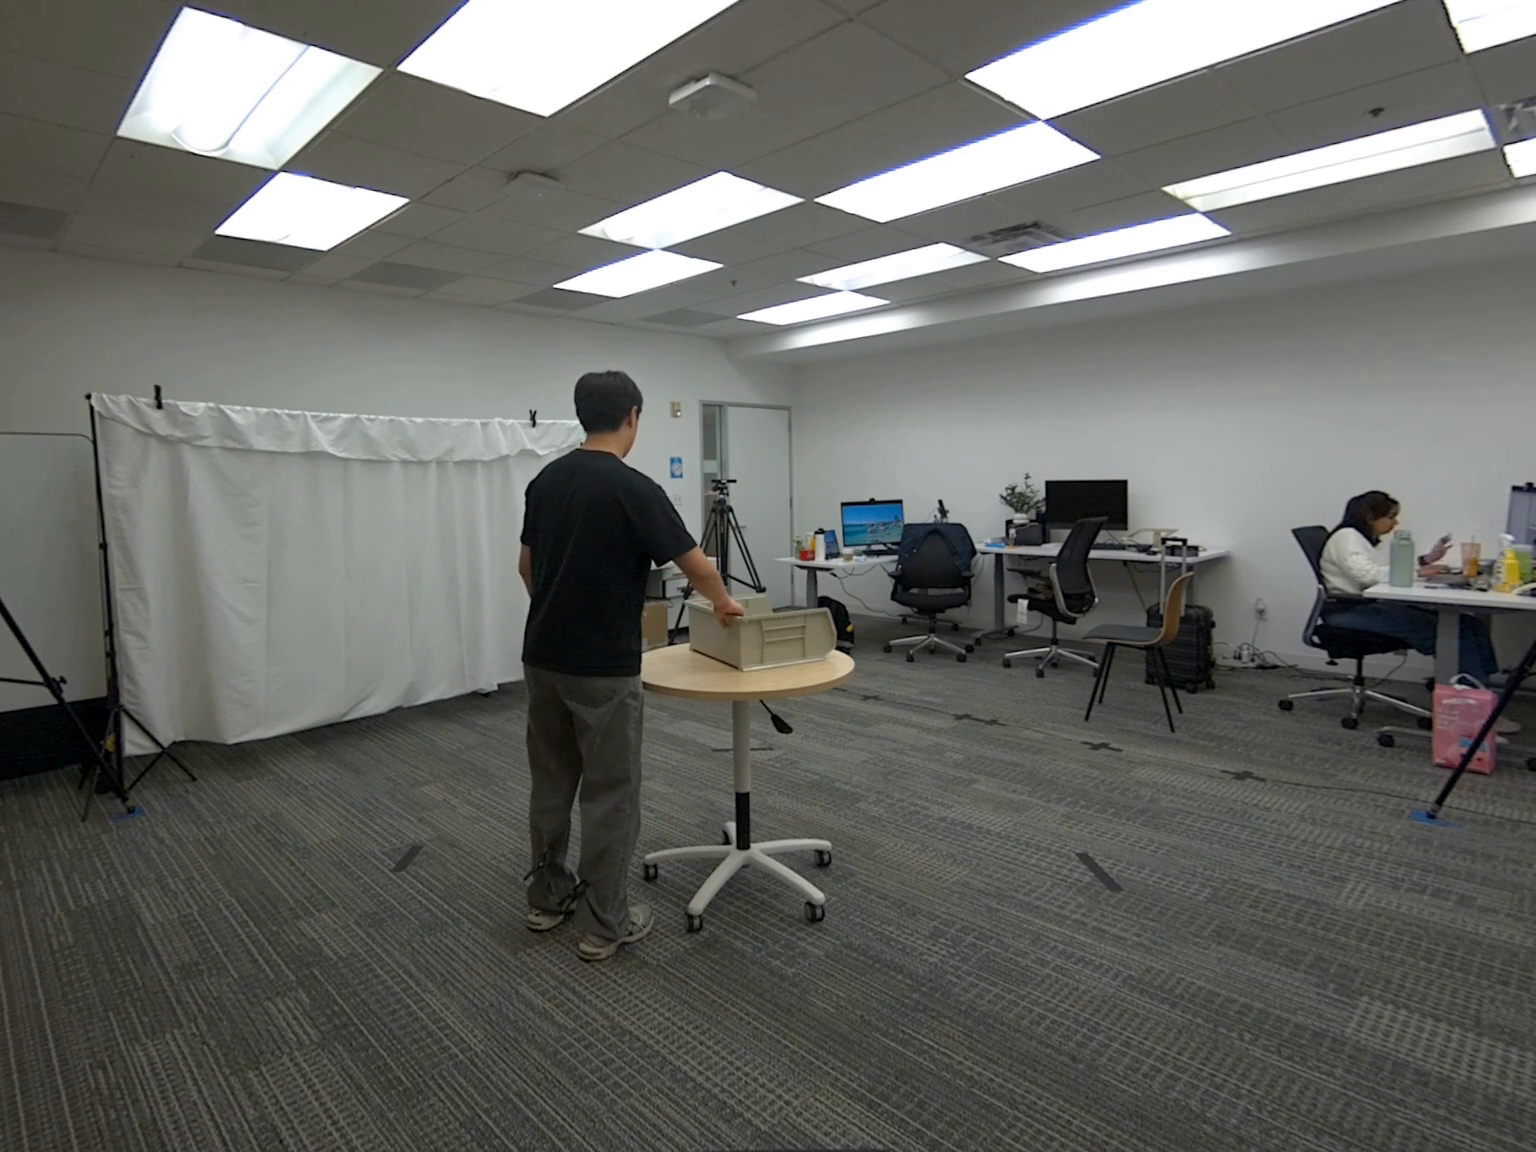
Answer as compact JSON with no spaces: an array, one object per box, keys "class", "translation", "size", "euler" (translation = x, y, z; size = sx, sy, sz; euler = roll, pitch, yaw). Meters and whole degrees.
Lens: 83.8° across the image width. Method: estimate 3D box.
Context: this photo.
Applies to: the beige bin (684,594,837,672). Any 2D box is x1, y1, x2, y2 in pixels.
[{"class":"beige bin","translation":[-0.033,0.187,2.995],"size":[0.369,0.188,0.434],"euler":[-7,9,-29]}]
